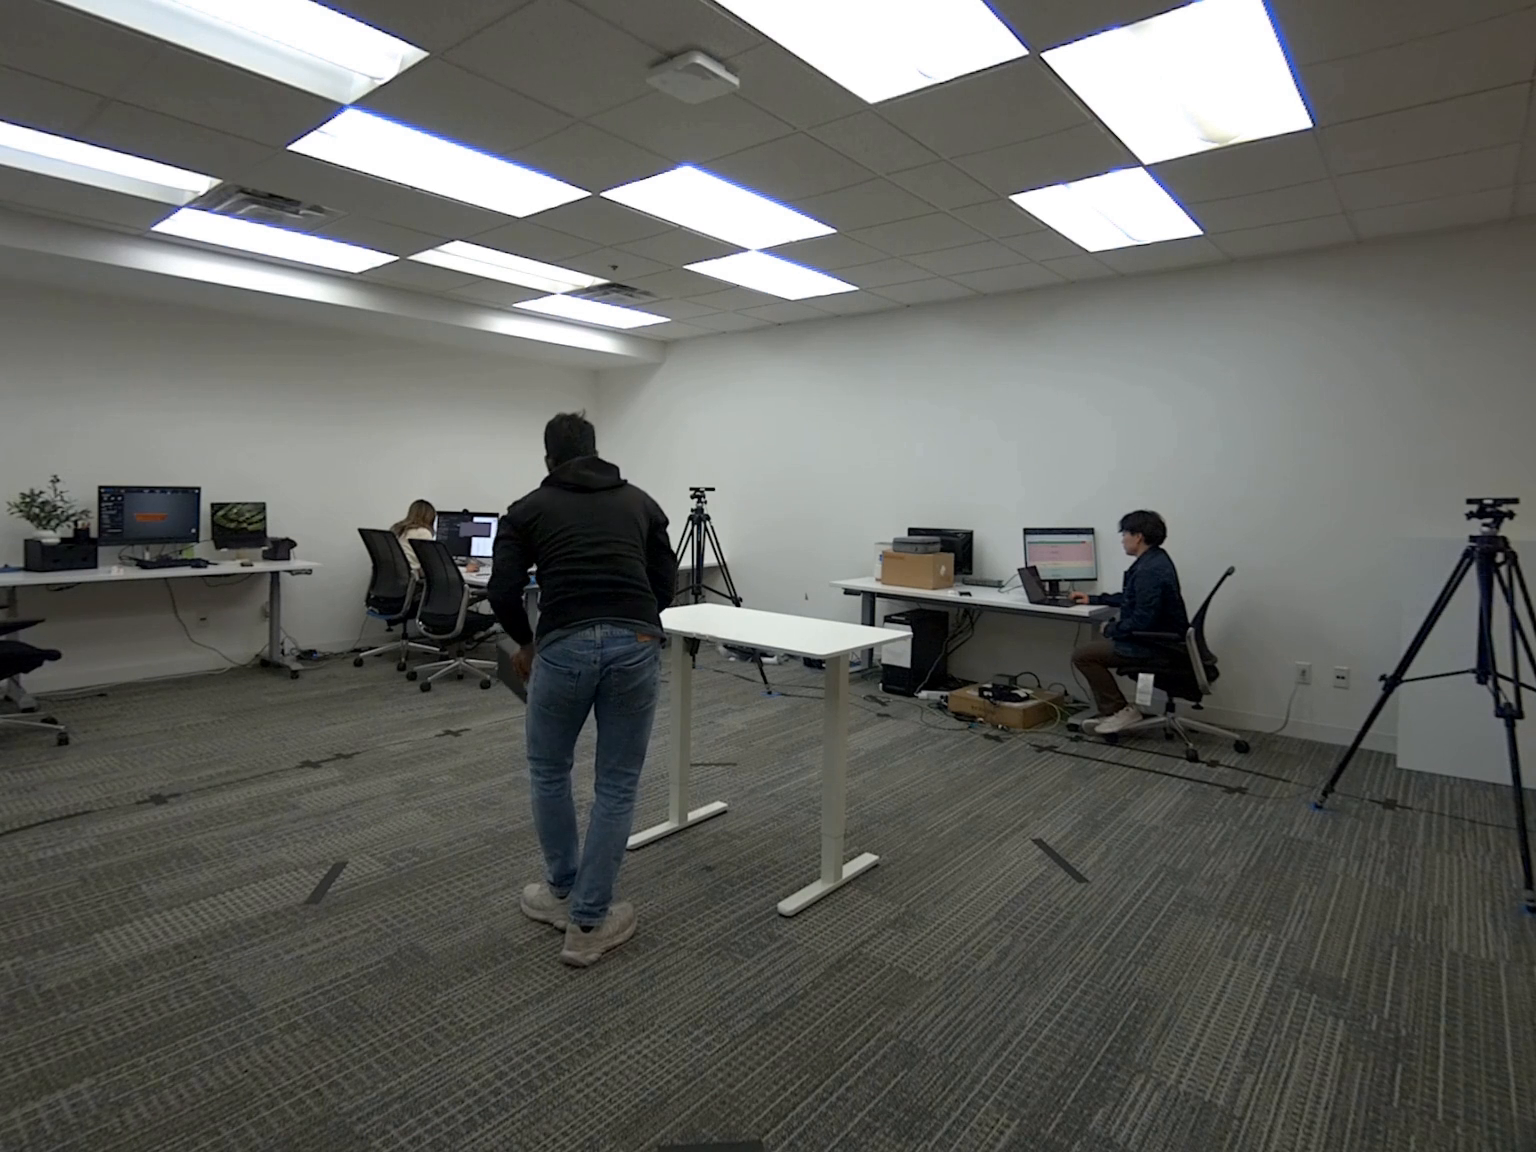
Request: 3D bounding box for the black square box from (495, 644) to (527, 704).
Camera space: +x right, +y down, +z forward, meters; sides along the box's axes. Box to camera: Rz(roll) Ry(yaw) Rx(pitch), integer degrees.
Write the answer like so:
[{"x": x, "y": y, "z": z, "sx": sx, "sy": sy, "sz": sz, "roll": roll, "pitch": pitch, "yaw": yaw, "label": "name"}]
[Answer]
[{"x": -0.781, "y": 0.310, "z": 2.929, "sx": 0.223, "sy": 0.153, "sz": 0.226, "roll": -18, "pitch": 32, "yaw": -37, "label": "black square box"}]
